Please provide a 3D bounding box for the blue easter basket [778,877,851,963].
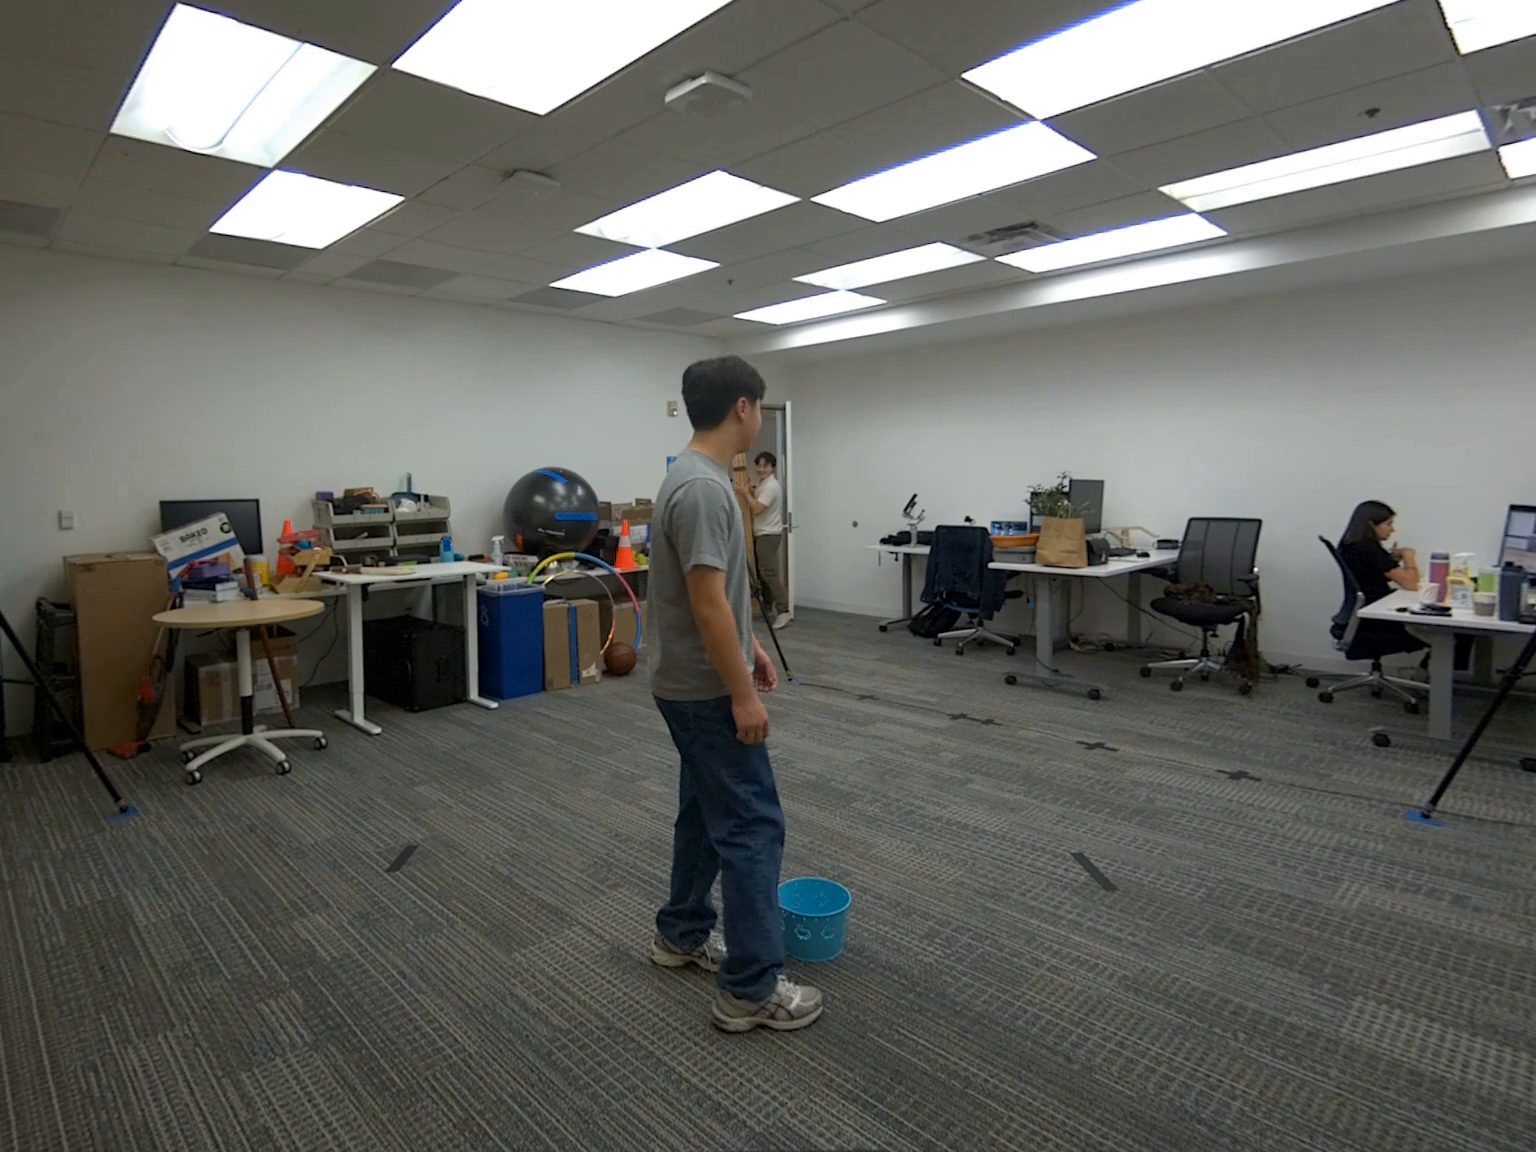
[{"bbox_3d":[0.138,1.027,2.557,0.243,0.155,0.245,-1,6,-2],"label":"blue easter basket"}]
